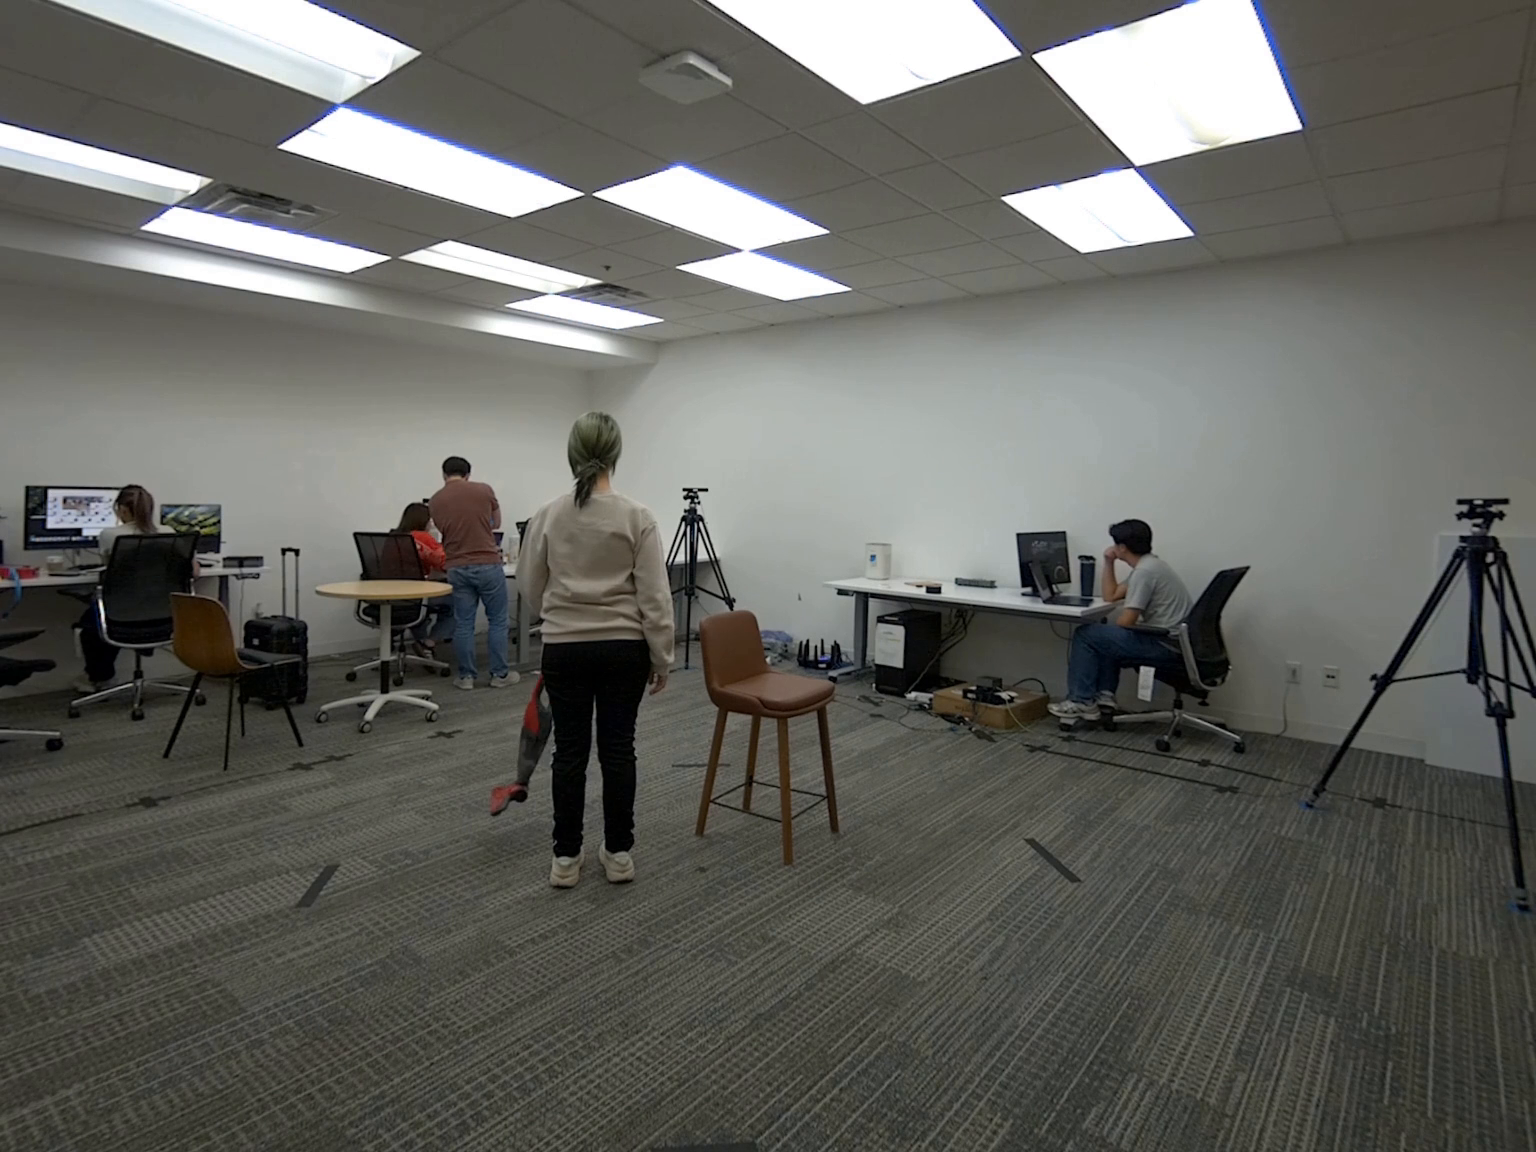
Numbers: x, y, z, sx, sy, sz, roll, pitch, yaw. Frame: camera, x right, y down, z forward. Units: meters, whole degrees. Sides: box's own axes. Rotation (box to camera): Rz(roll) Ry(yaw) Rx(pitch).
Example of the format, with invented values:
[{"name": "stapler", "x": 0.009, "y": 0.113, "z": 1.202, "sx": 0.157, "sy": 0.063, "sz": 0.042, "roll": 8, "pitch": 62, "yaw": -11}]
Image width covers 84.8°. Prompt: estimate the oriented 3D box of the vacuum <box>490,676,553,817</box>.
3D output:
[{"name": "vacuum", "x": -0.835, "y": 0.364, "z": 3.336, "sx": 0.140, "sy": 1.052, "sz": 0.259, "roll": 21, "pitch": -5, "yaw": -22}]
